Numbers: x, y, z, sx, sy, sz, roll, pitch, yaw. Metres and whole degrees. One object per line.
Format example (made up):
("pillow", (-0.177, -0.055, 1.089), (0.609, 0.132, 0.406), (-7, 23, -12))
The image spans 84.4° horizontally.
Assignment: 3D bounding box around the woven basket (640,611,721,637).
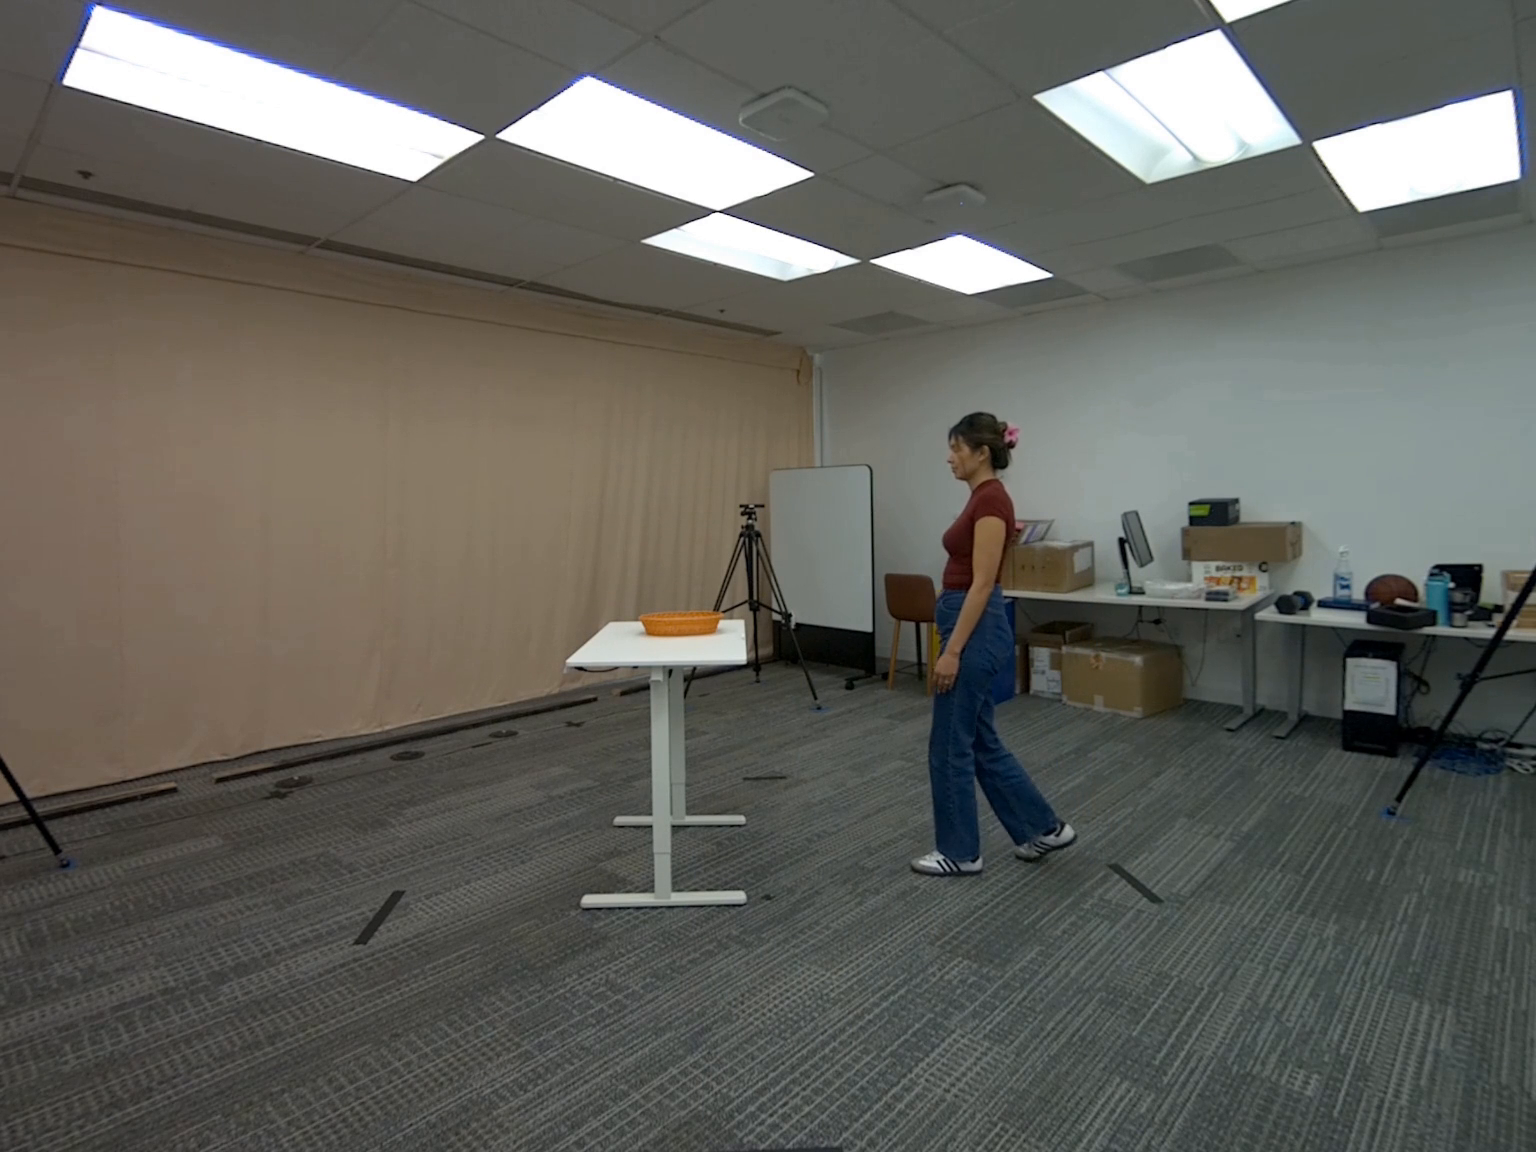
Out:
("woven basket", (-0.350, 0.199, 3.422), (0.348, 0.073, 0.254), (-1, 3, -6))
